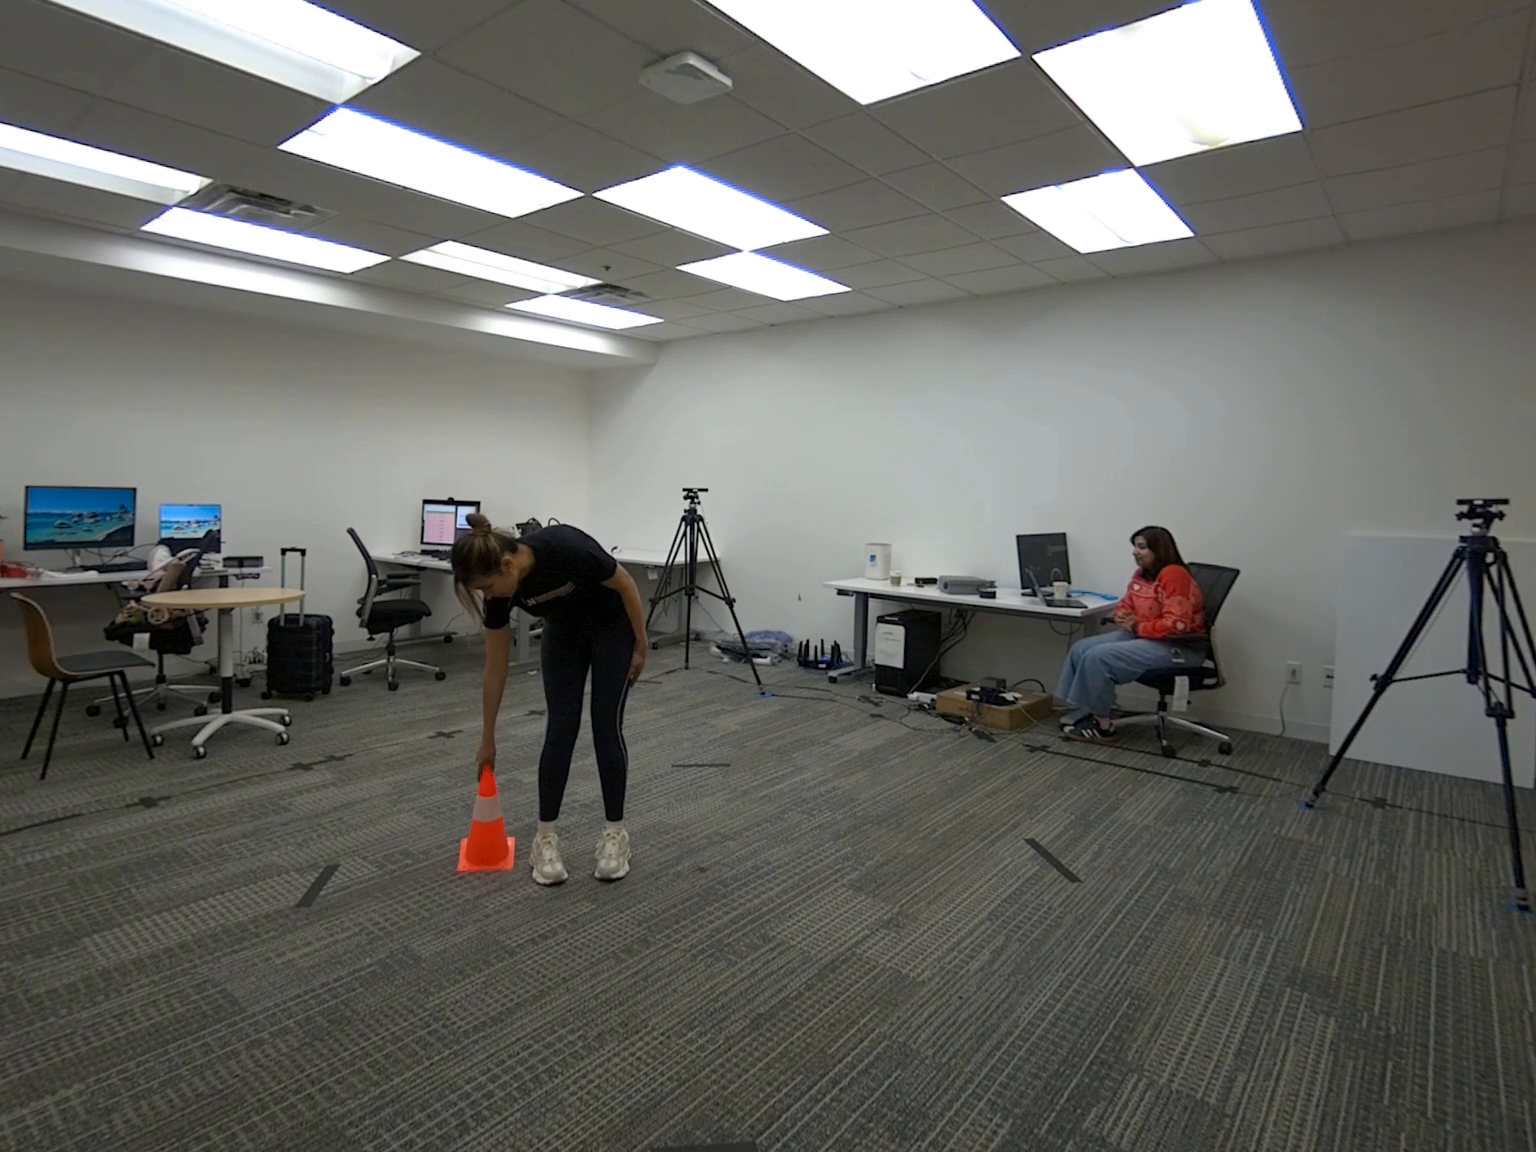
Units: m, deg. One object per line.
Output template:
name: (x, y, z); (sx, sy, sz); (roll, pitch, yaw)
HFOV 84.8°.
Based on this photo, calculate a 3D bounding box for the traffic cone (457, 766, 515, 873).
traffic cone: (-1.035, 0.861, 3.107); (0.202, 0.379, 0.208); (3, 15, -13)
